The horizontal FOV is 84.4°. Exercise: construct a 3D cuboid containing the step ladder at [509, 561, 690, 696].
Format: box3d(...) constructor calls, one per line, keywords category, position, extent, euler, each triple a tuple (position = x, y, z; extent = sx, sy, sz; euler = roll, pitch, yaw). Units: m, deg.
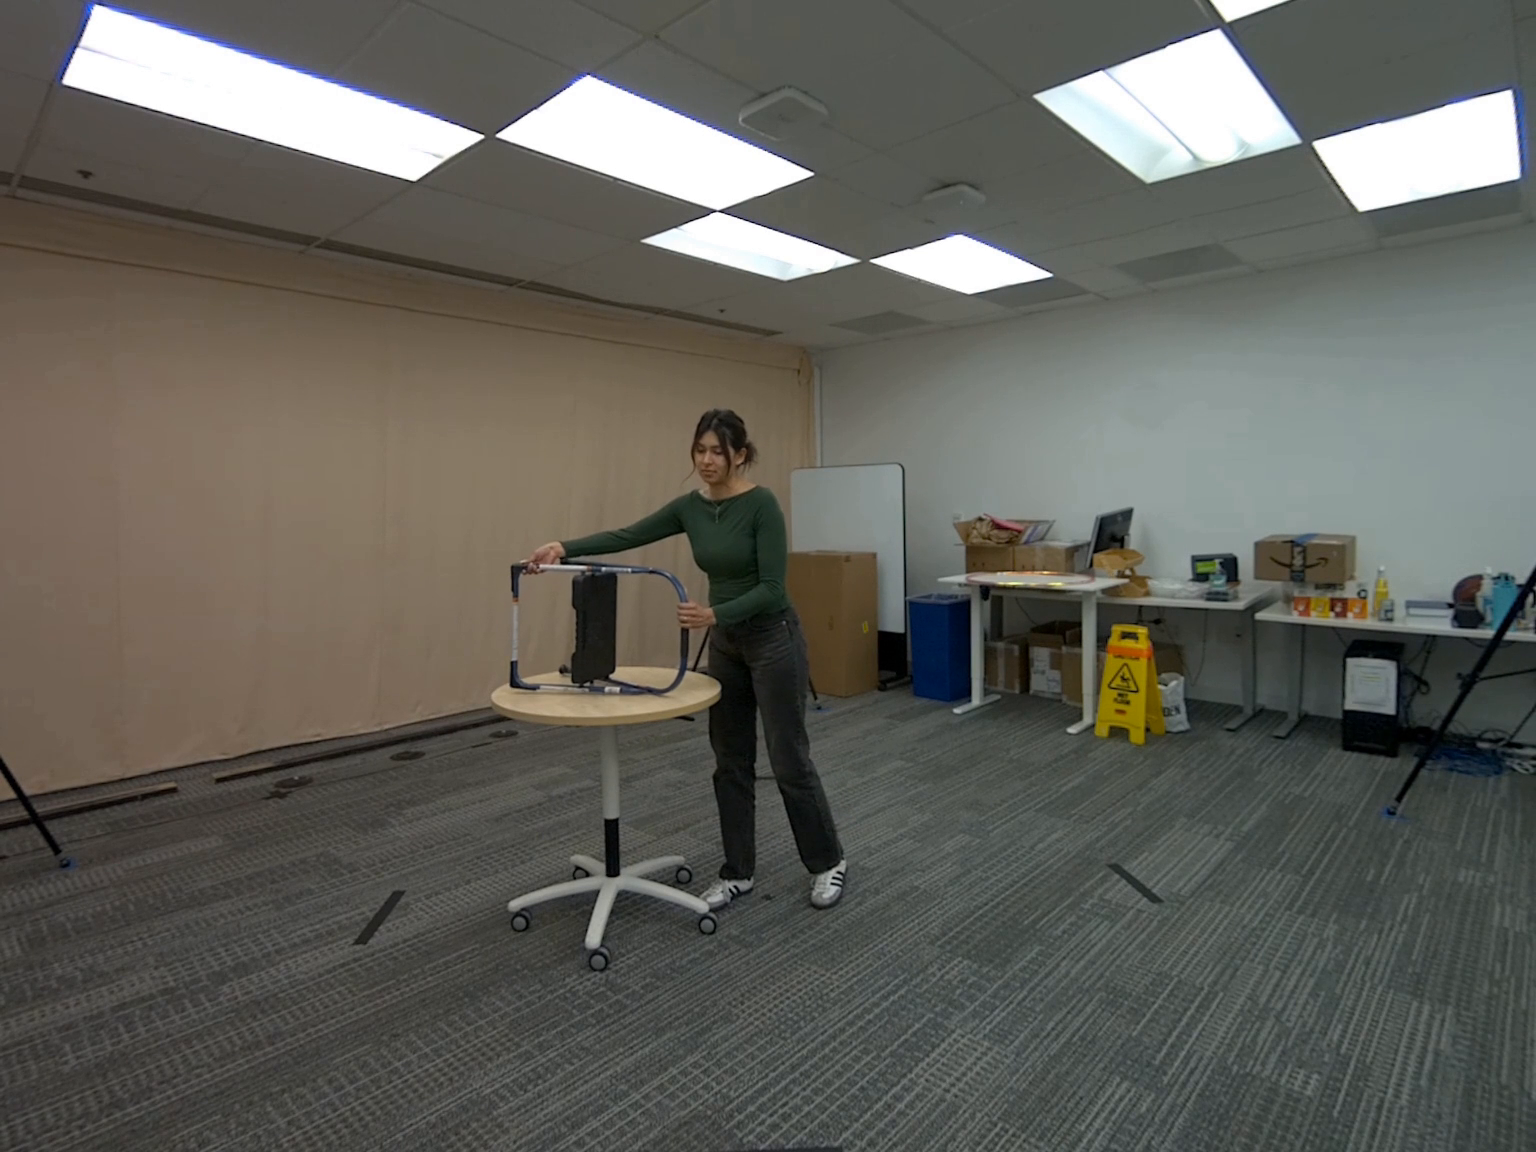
box3d(category="step ladder", position=(-0.515, 0.164, 2.819), extent=(0.619, 0.429, 0.342), euler=(2, 4, 20))
